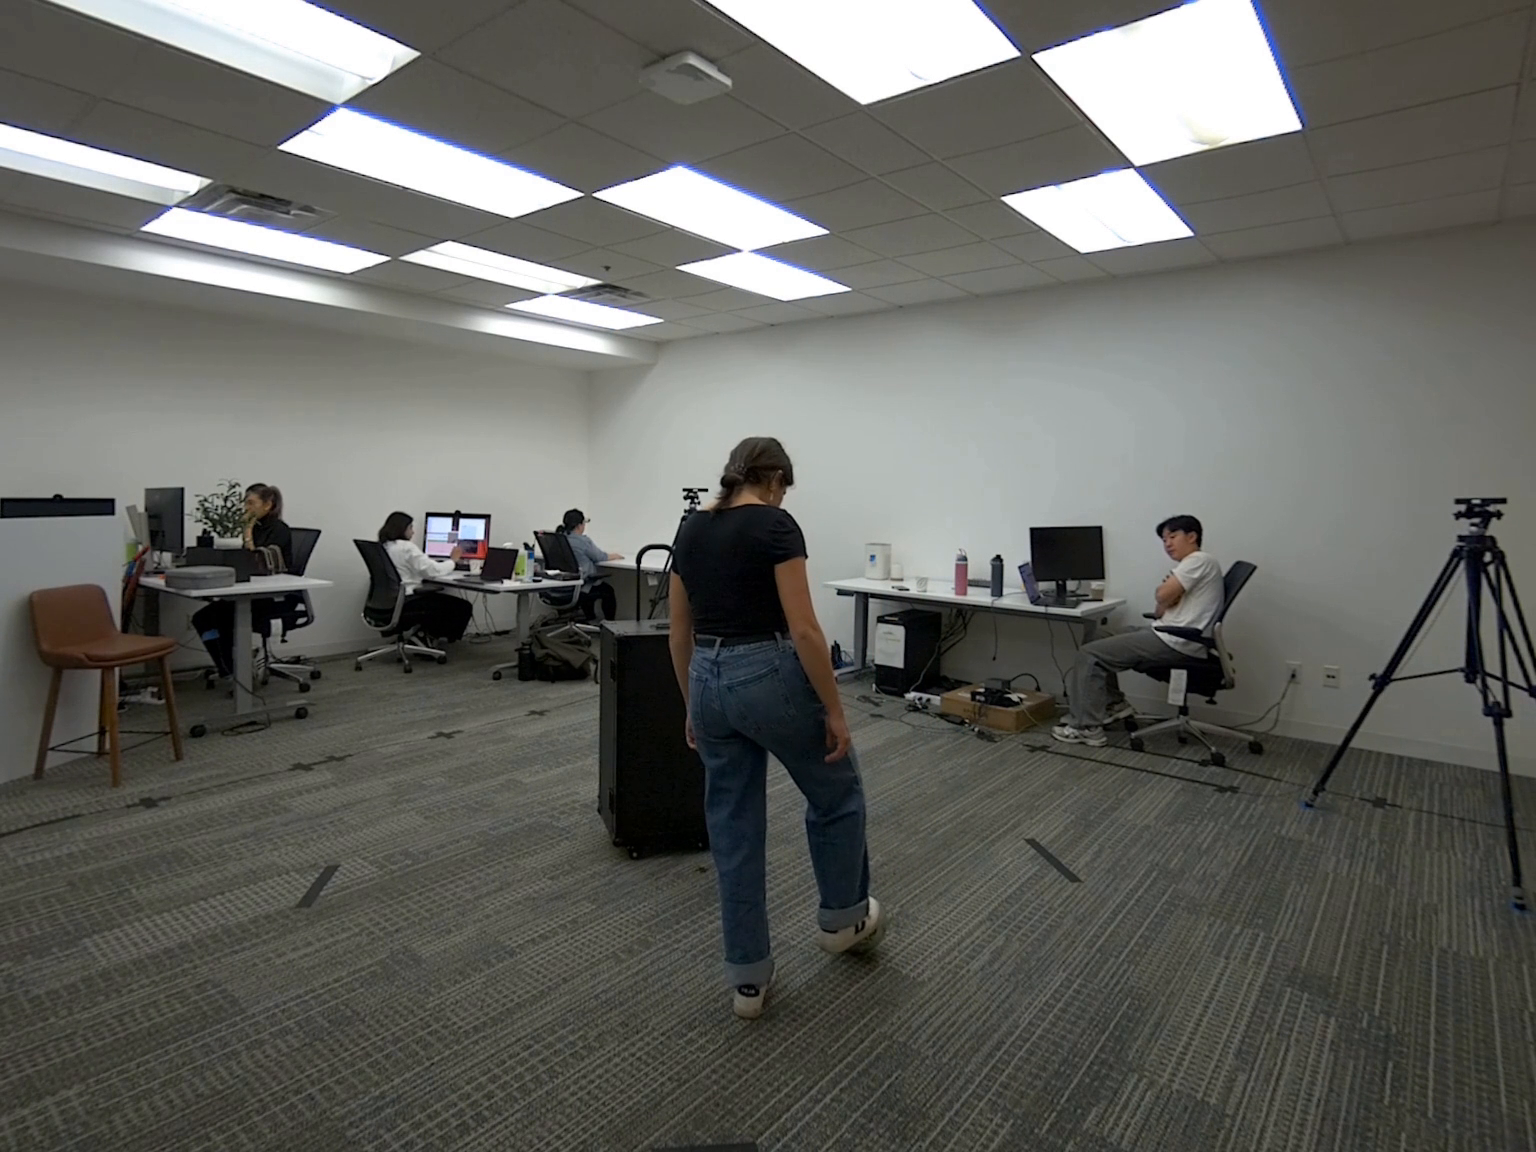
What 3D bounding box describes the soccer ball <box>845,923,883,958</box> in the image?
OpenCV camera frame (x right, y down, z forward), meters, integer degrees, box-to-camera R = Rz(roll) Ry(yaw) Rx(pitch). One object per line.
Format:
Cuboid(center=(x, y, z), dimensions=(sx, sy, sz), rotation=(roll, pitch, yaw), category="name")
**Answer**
Cuboid(center=(0.280, 1.027, 2.582), dimensions=(0.187, 0.187, 0.188), rotation=(1, 4, -2), category="soccer ball")
